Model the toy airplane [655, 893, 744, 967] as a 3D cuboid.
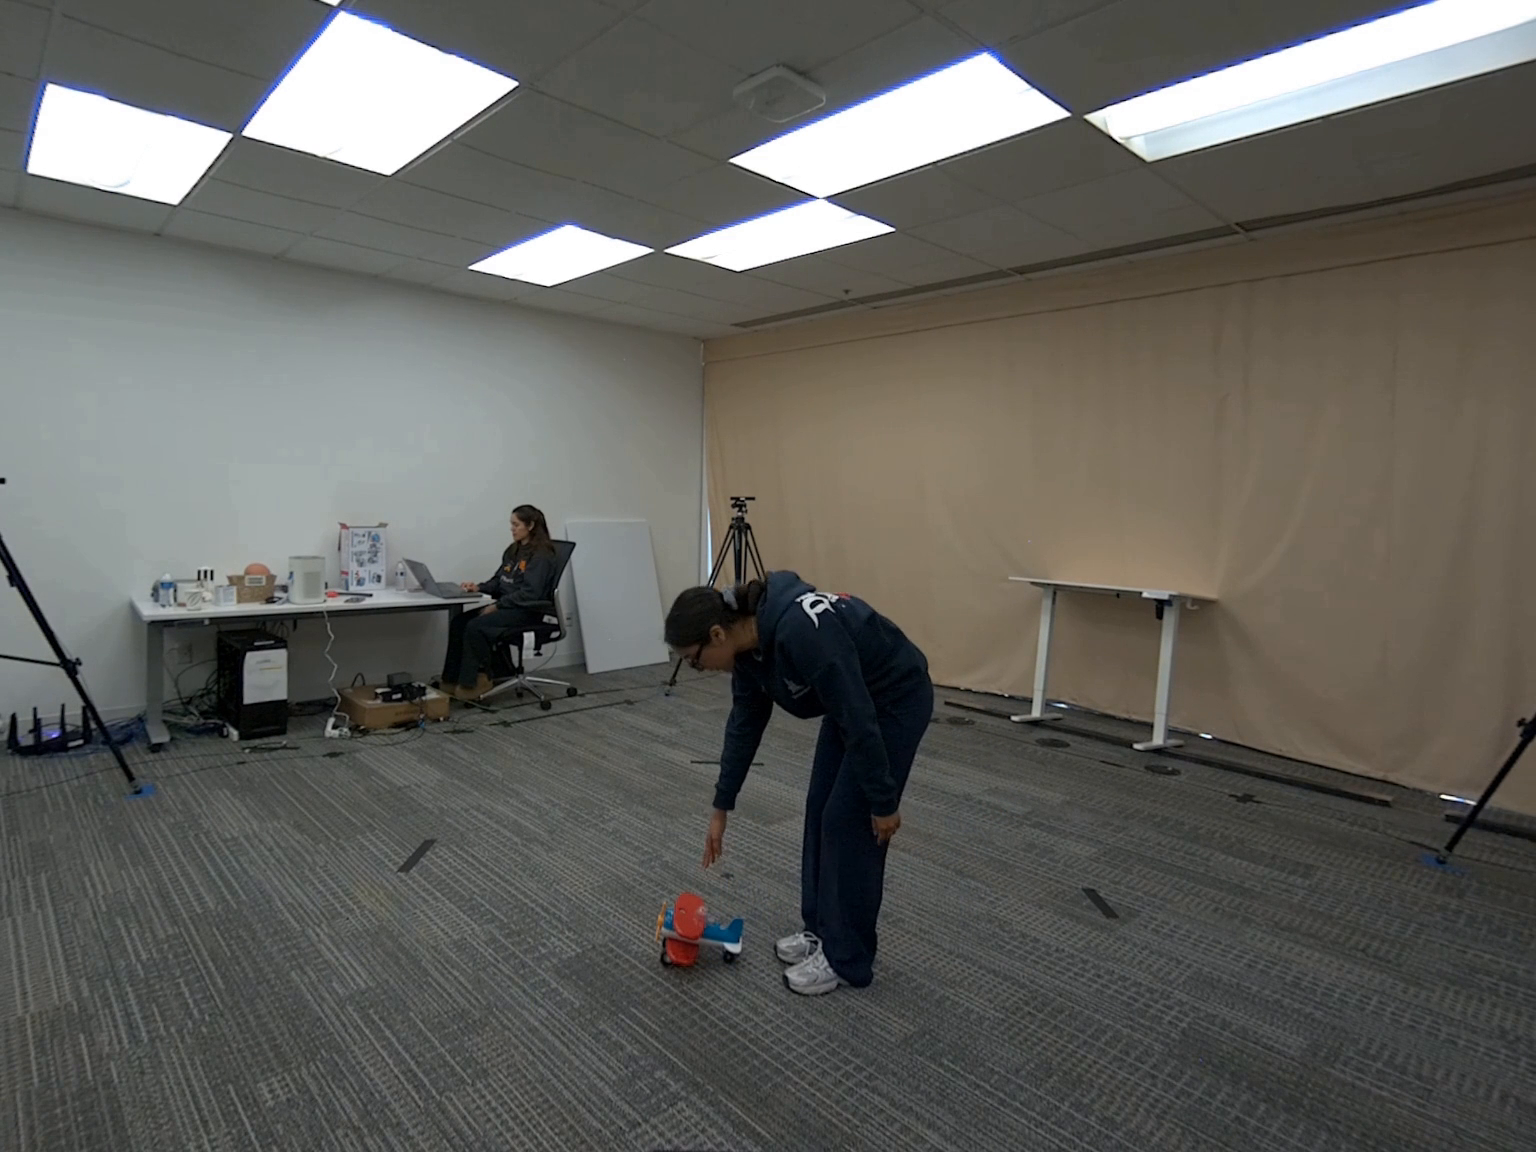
[{"bbox_3d":[-0.205,1.074,2.551,0.254,0.156,0.256,-1,5,-27],"label":"toy airplane"}]
